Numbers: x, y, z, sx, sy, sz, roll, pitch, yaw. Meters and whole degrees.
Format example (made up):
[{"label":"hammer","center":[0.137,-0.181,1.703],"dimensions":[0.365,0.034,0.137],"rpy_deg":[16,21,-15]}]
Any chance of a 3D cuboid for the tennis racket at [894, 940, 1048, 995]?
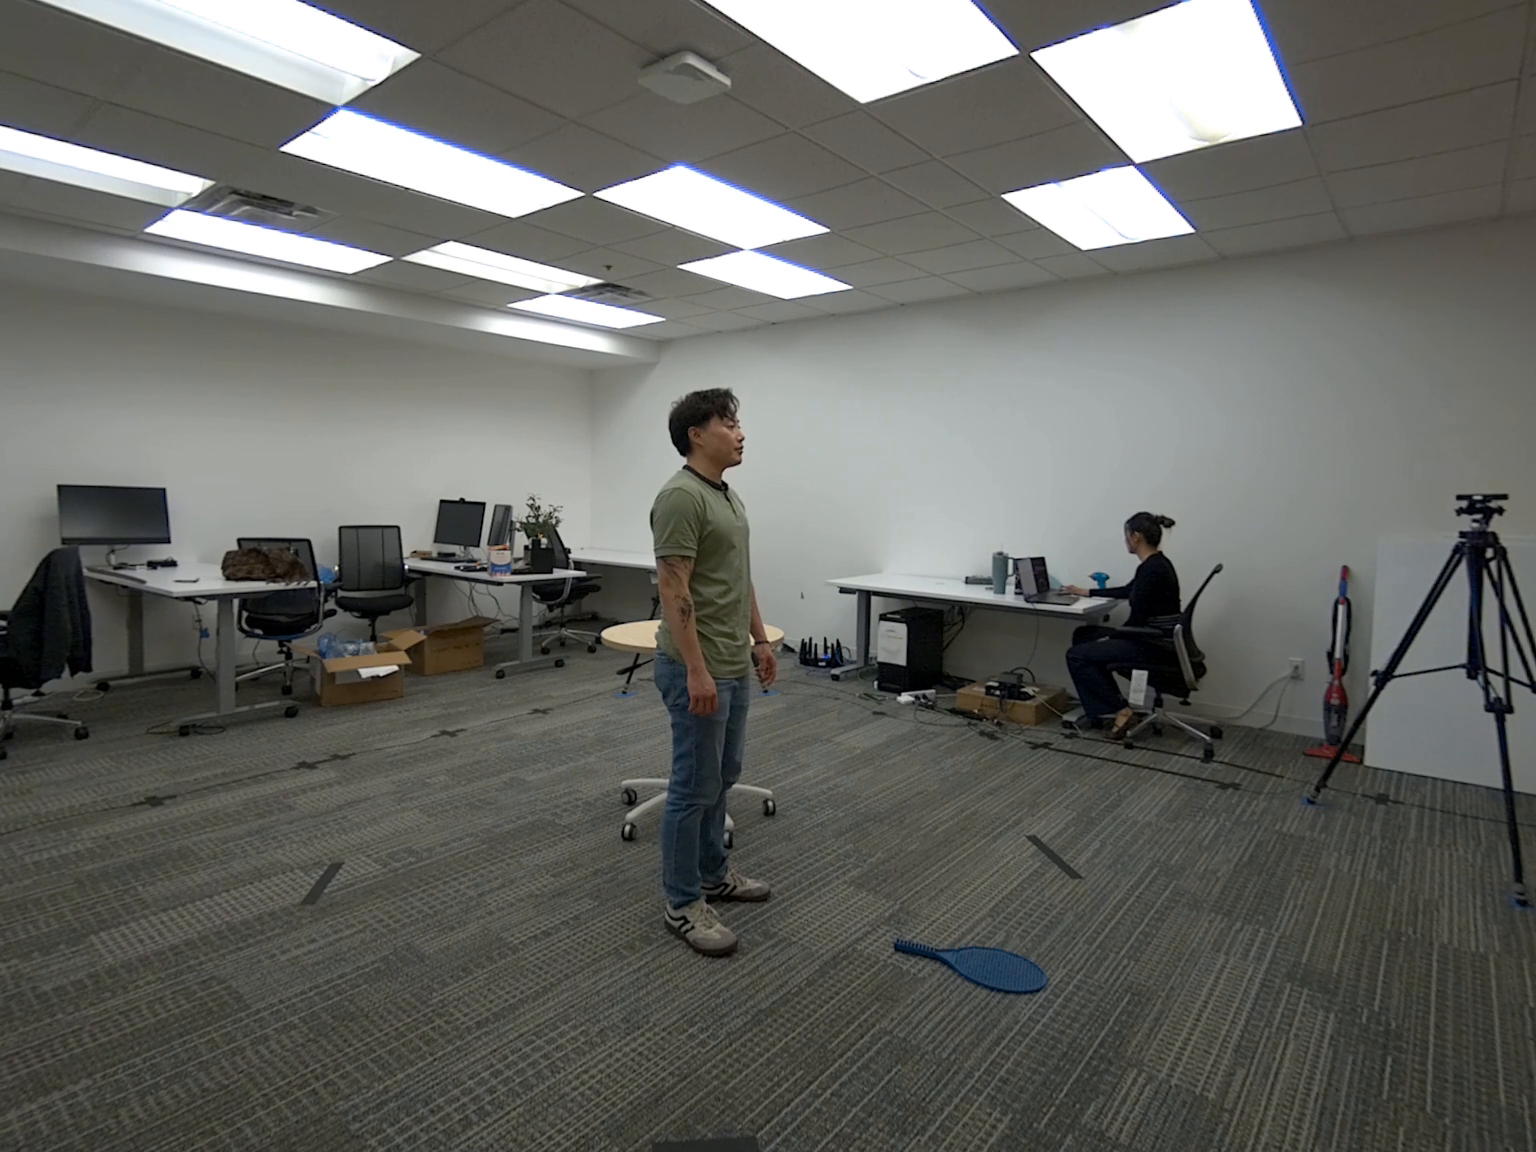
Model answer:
[{"label":"tennis racket","center":[0.584,1.125,2.509],"dimensions":[0.444,0.031,0.209],"rpy_deg":[5,7,23]}]
